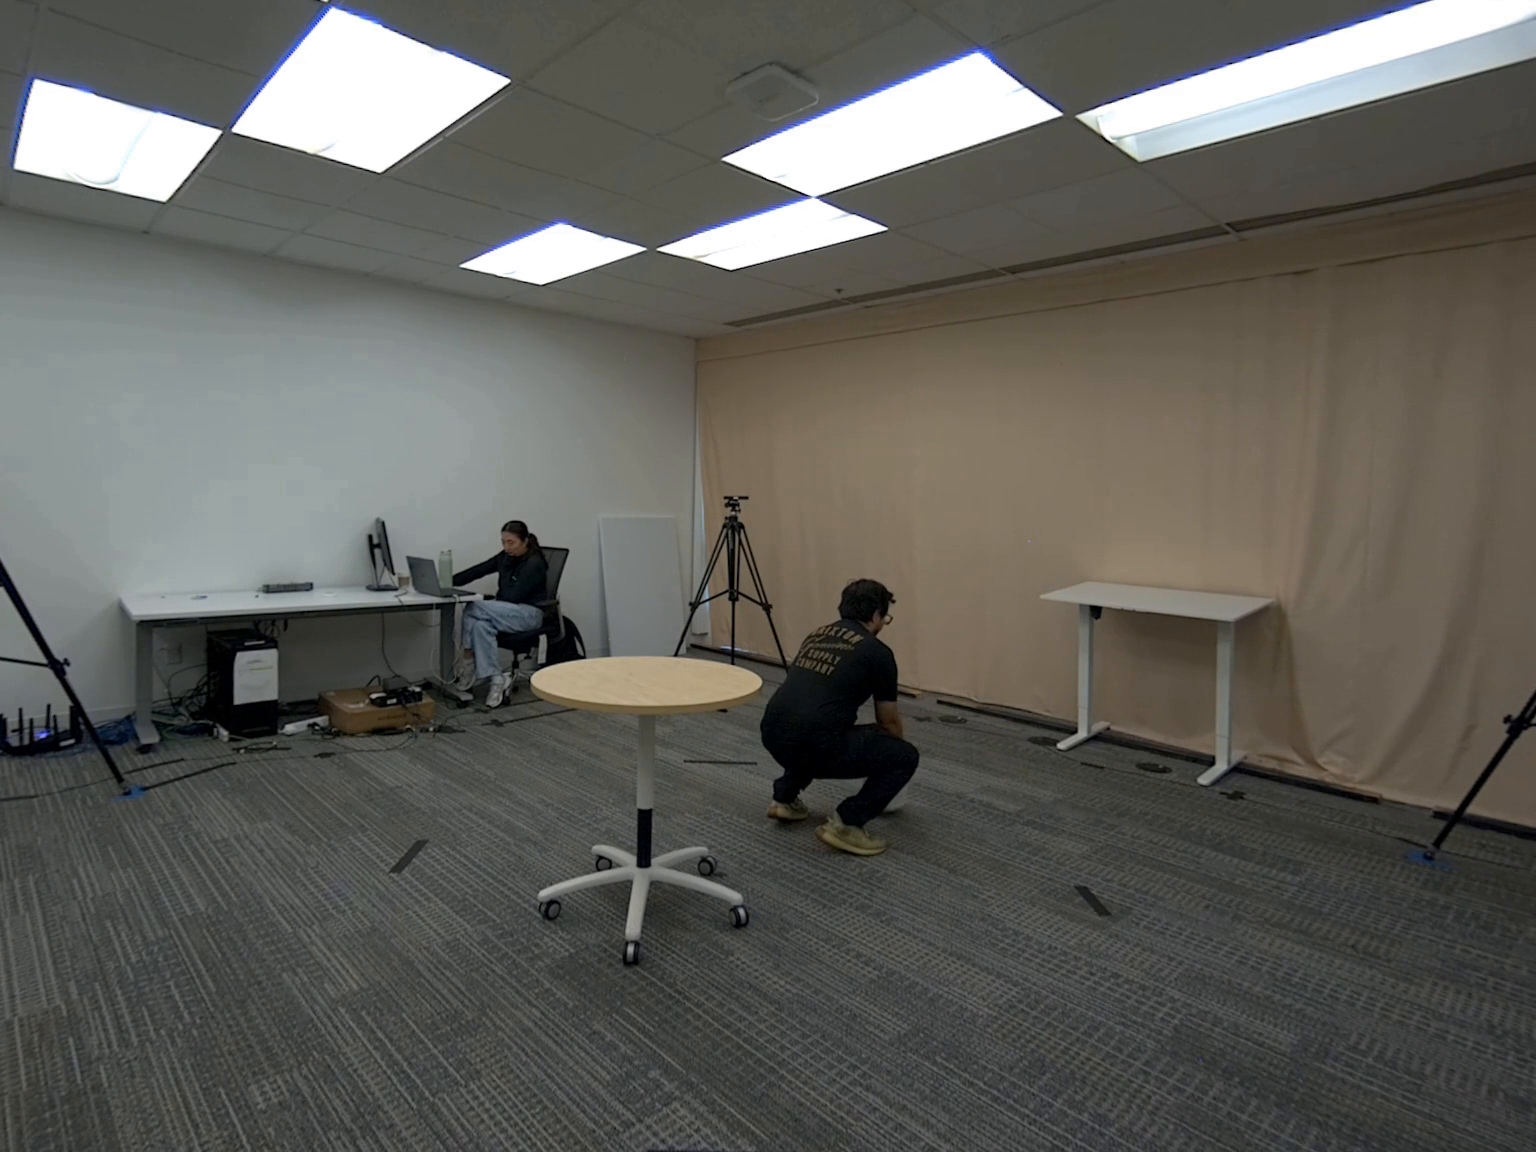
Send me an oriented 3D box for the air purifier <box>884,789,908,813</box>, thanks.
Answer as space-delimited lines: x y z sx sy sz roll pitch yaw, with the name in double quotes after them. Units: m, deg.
0.523 0.899 3.778 0.175 0.265 0.167 4 1 44 "air purifier"
